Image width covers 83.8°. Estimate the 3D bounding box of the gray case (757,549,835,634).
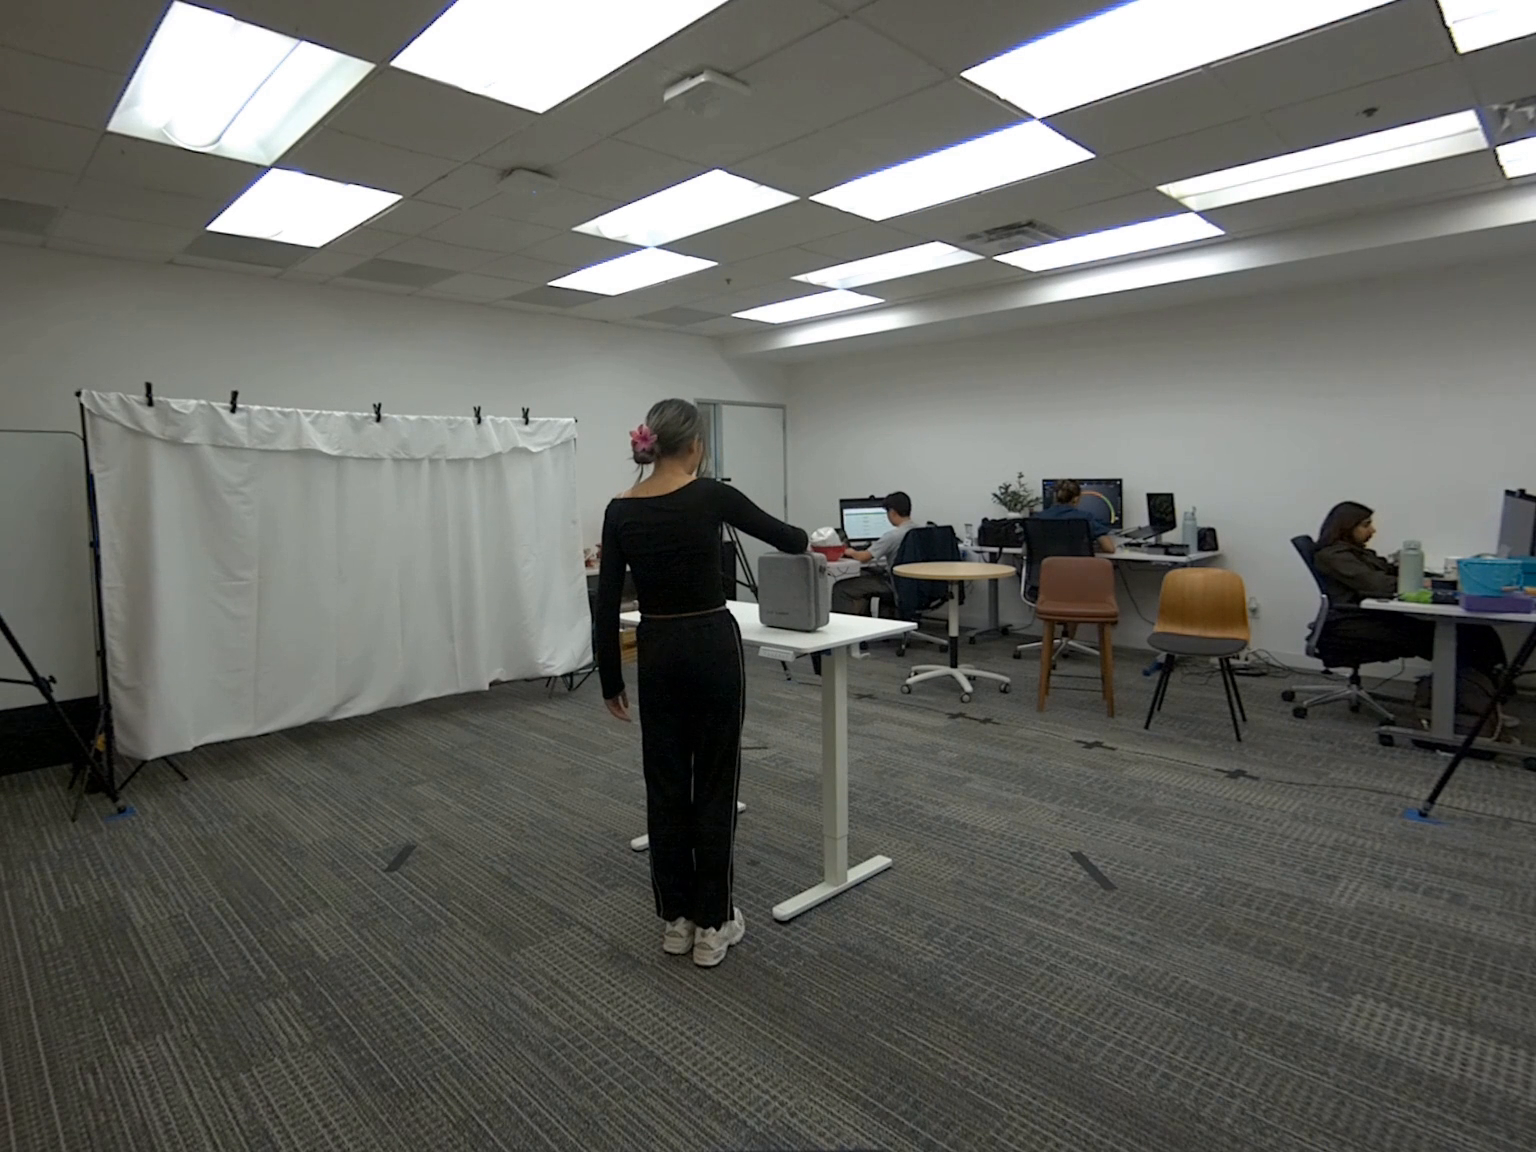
[{"bbox_3d":[0.091,0.044,2.892,0.101,0.260,0.264,-3,3,-41],"label":"gray case"}]
